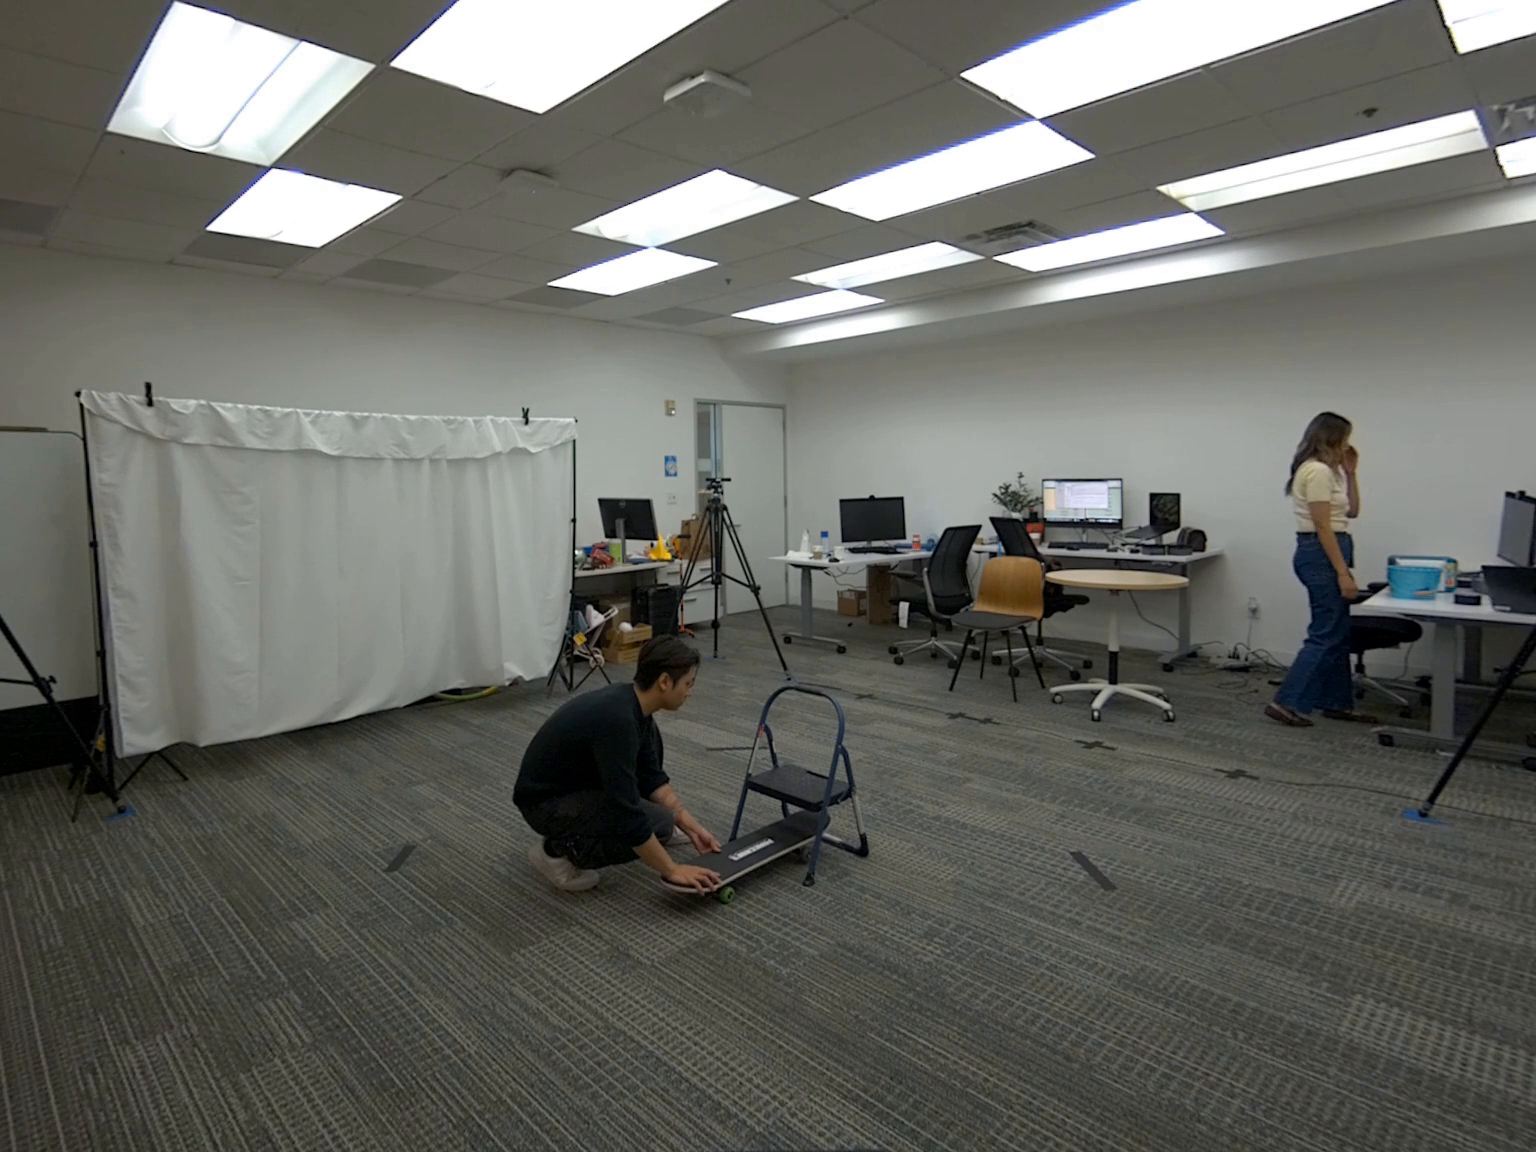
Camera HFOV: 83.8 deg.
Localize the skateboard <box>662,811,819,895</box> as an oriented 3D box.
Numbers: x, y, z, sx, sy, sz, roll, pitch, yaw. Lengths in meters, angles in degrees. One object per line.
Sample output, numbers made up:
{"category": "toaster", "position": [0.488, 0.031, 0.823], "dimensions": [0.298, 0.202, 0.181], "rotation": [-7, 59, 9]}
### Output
{"category": "skateboard", "position": [-0.054, 0.985, 3.020], "dimensions": [0.199, 0.110, 0.766], "rotation": [4, 10, 42]}
